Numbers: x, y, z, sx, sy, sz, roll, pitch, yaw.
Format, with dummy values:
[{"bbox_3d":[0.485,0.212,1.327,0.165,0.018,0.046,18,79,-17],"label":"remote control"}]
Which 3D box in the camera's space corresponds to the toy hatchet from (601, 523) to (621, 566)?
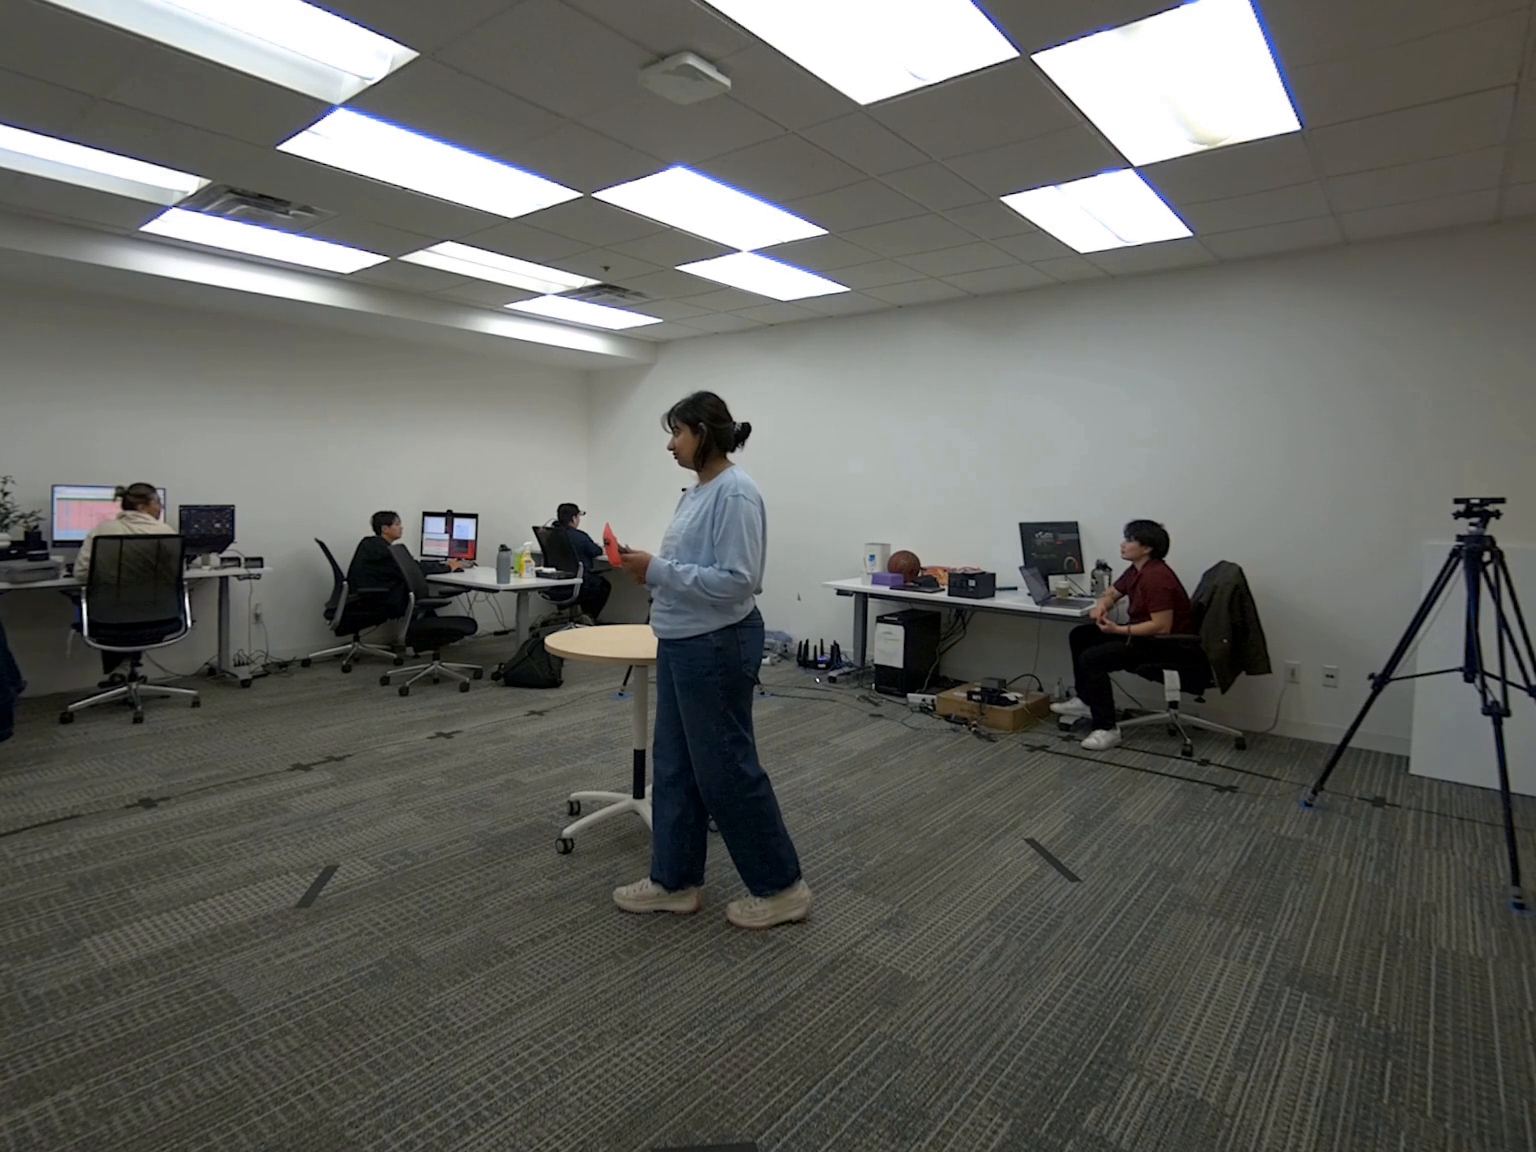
[{"bbox_3d":[-0.440,-0.047,2.587,0.030,0.135,0.259,-17,-36,14],"label":"toy hatchet"}]
